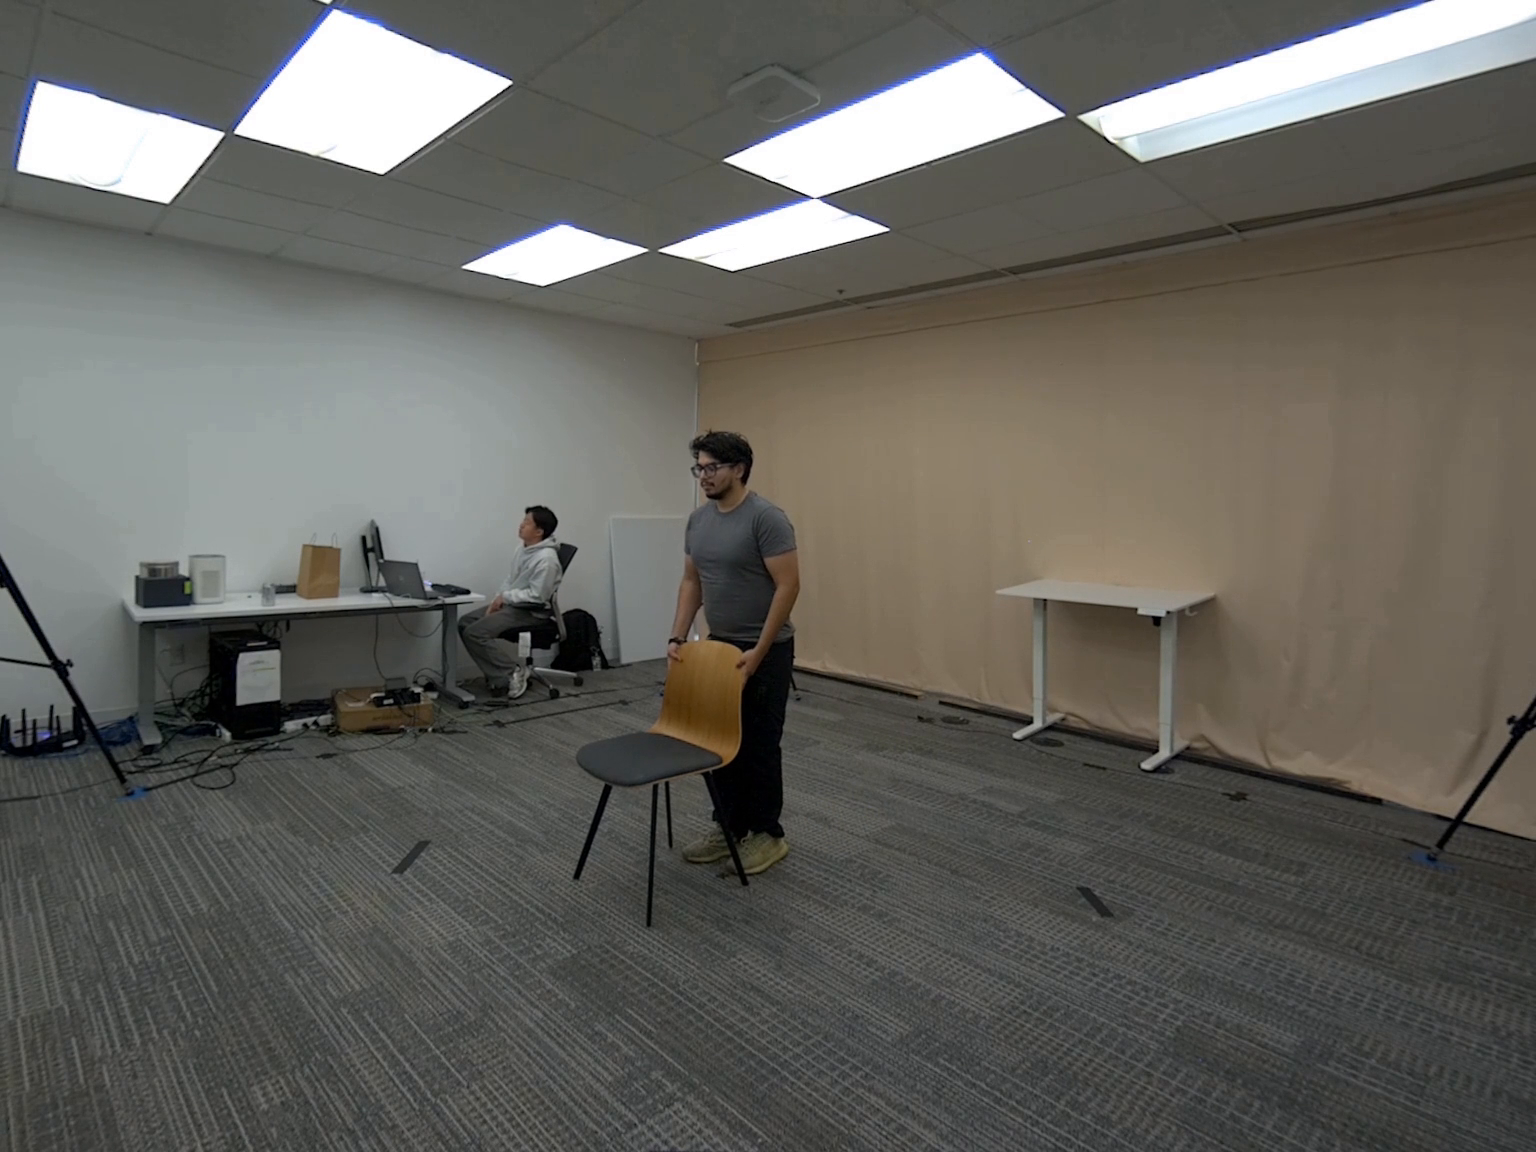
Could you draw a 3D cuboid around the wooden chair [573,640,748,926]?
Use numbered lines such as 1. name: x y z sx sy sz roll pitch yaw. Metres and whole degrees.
1. wooden chair: -0.386 0.680 2.994 0.510 0.877 0.490 4 1 -44
